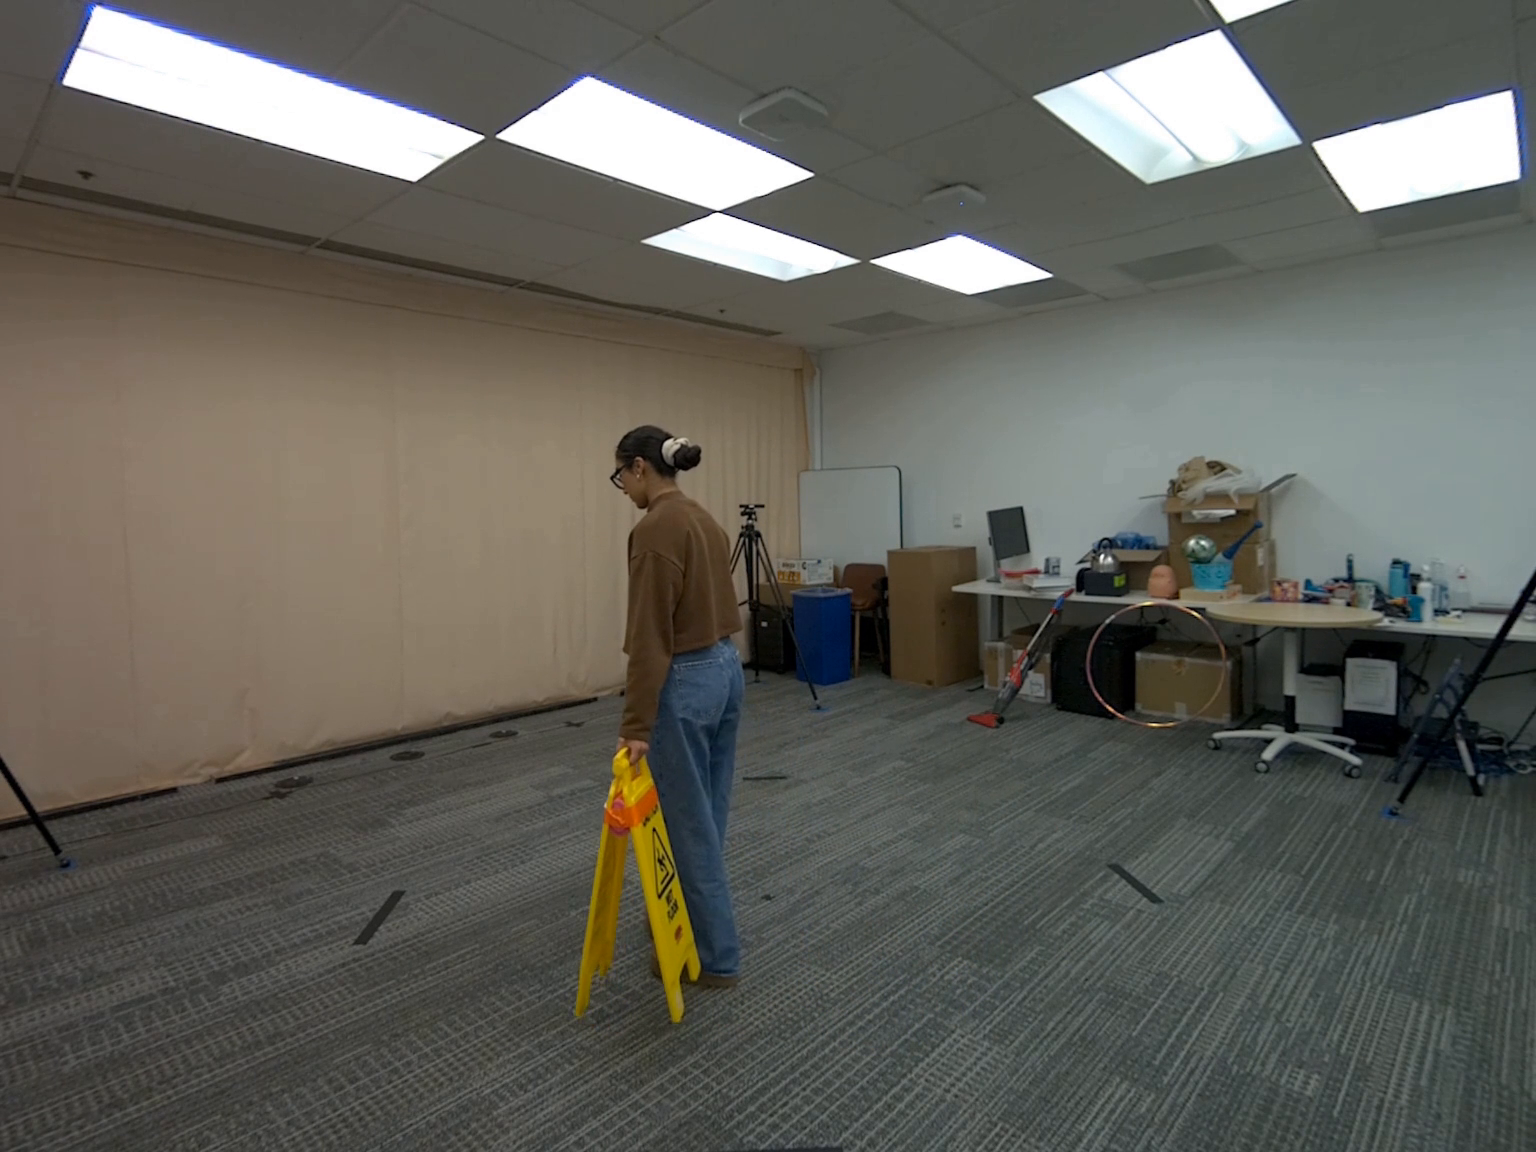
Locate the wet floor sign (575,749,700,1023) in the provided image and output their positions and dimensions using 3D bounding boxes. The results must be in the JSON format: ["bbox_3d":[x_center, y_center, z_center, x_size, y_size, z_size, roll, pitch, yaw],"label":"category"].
[{"bbox_3d":[-0.354,0.785,2.212,0.292,0.646,0.280,-2,1,8],"label":"wet floor sign"}]
